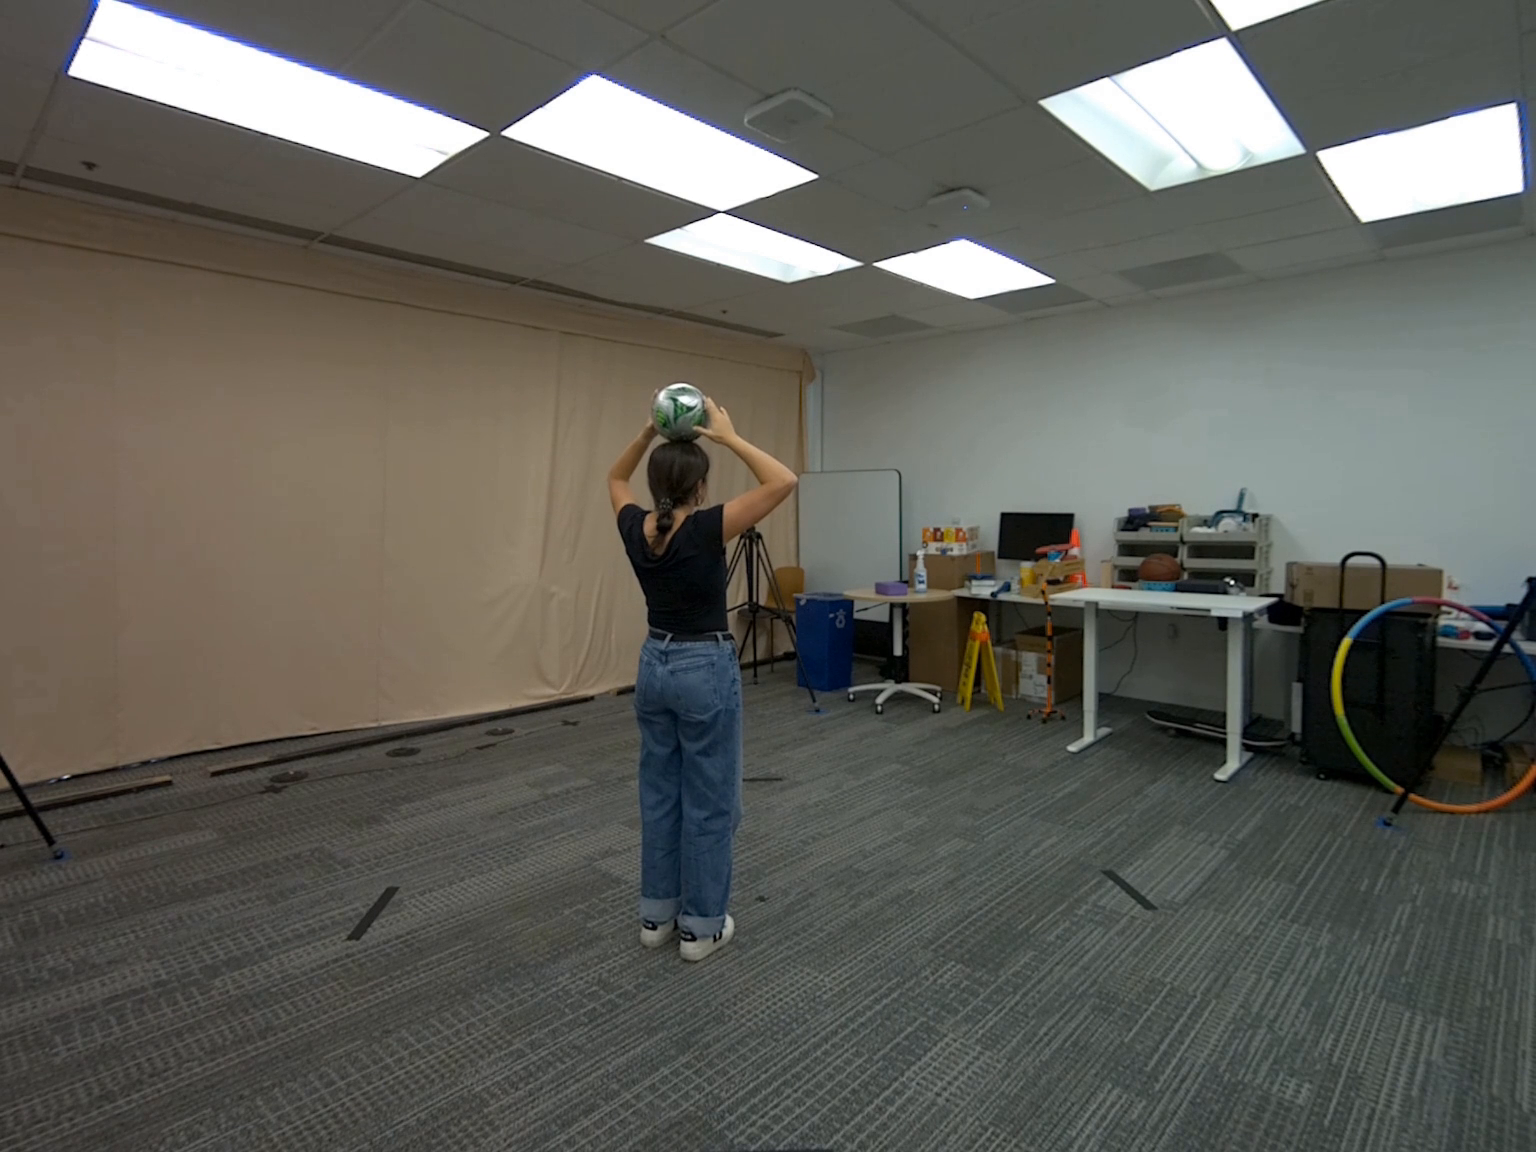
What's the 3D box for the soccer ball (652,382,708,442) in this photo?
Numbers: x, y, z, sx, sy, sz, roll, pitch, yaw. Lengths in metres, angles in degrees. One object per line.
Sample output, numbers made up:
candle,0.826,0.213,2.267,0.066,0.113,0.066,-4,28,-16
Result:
soccer ball,-0.263,-0.505,2.639,0.187,0.187,0.188,0,4,-2
